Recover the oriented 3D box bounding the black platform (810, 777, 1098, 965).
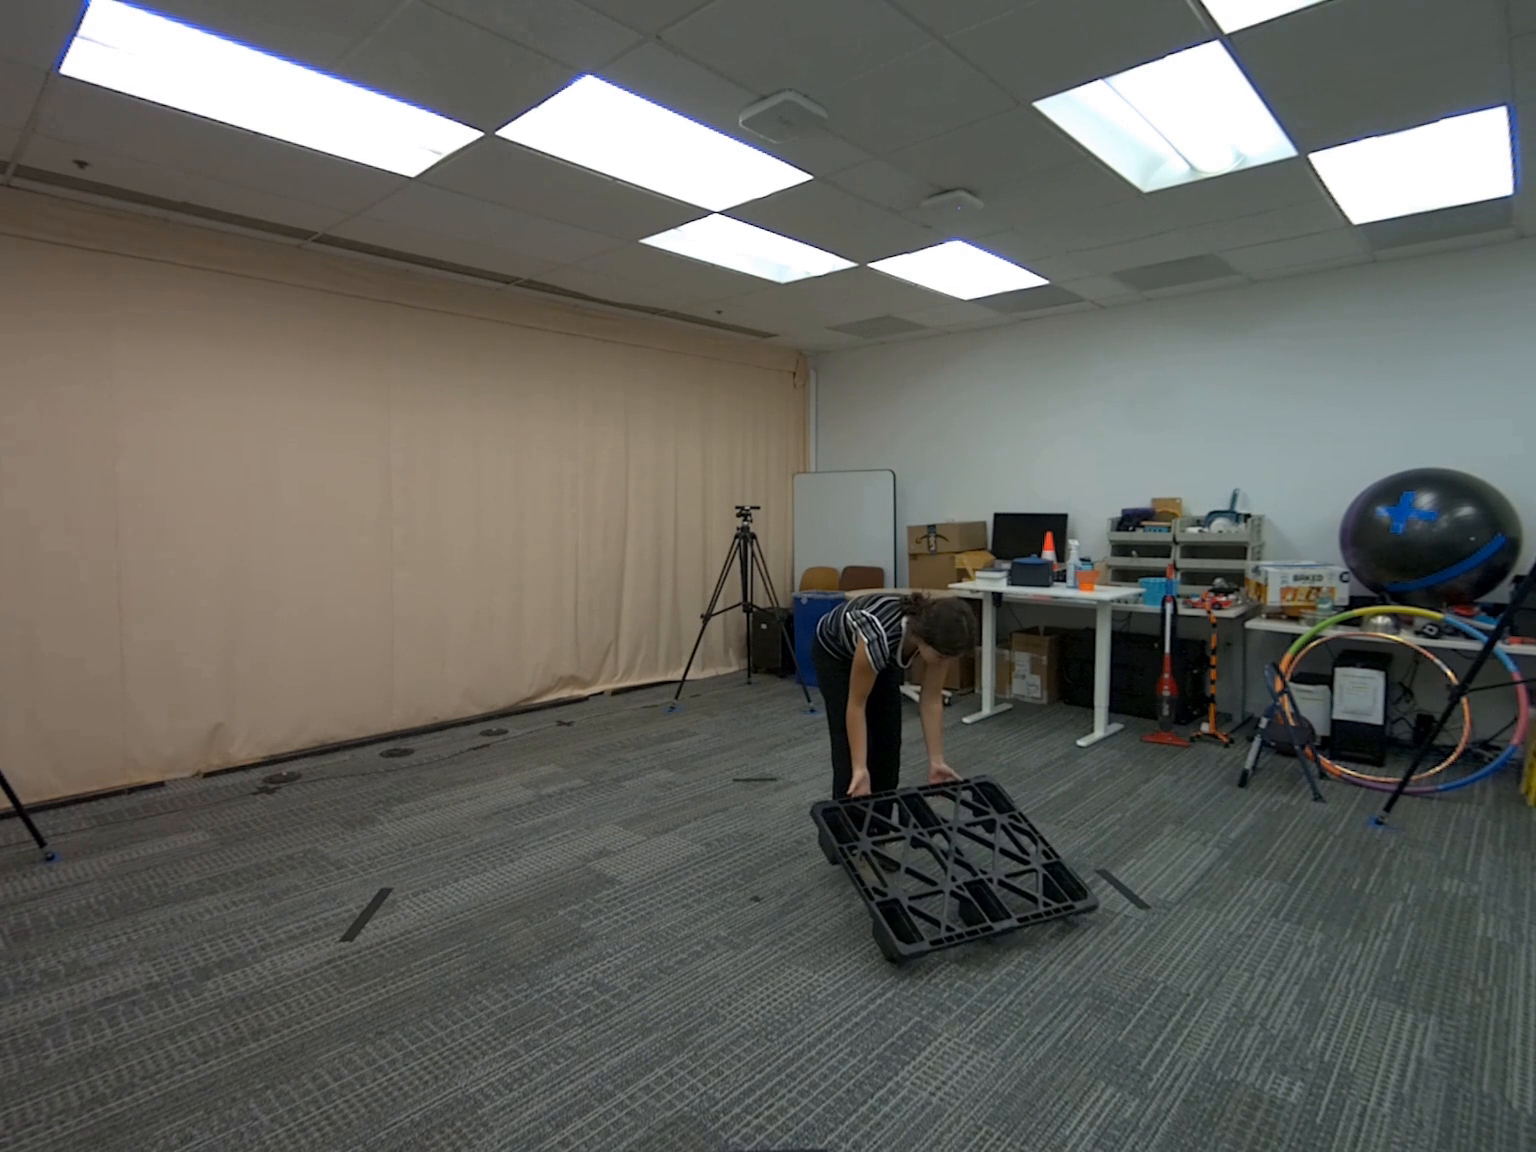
[{"bbox_3d":[0.617,0.994,2.868,0.787,0.142,0.625,-2,31,-24],"label":"black platform"}]
